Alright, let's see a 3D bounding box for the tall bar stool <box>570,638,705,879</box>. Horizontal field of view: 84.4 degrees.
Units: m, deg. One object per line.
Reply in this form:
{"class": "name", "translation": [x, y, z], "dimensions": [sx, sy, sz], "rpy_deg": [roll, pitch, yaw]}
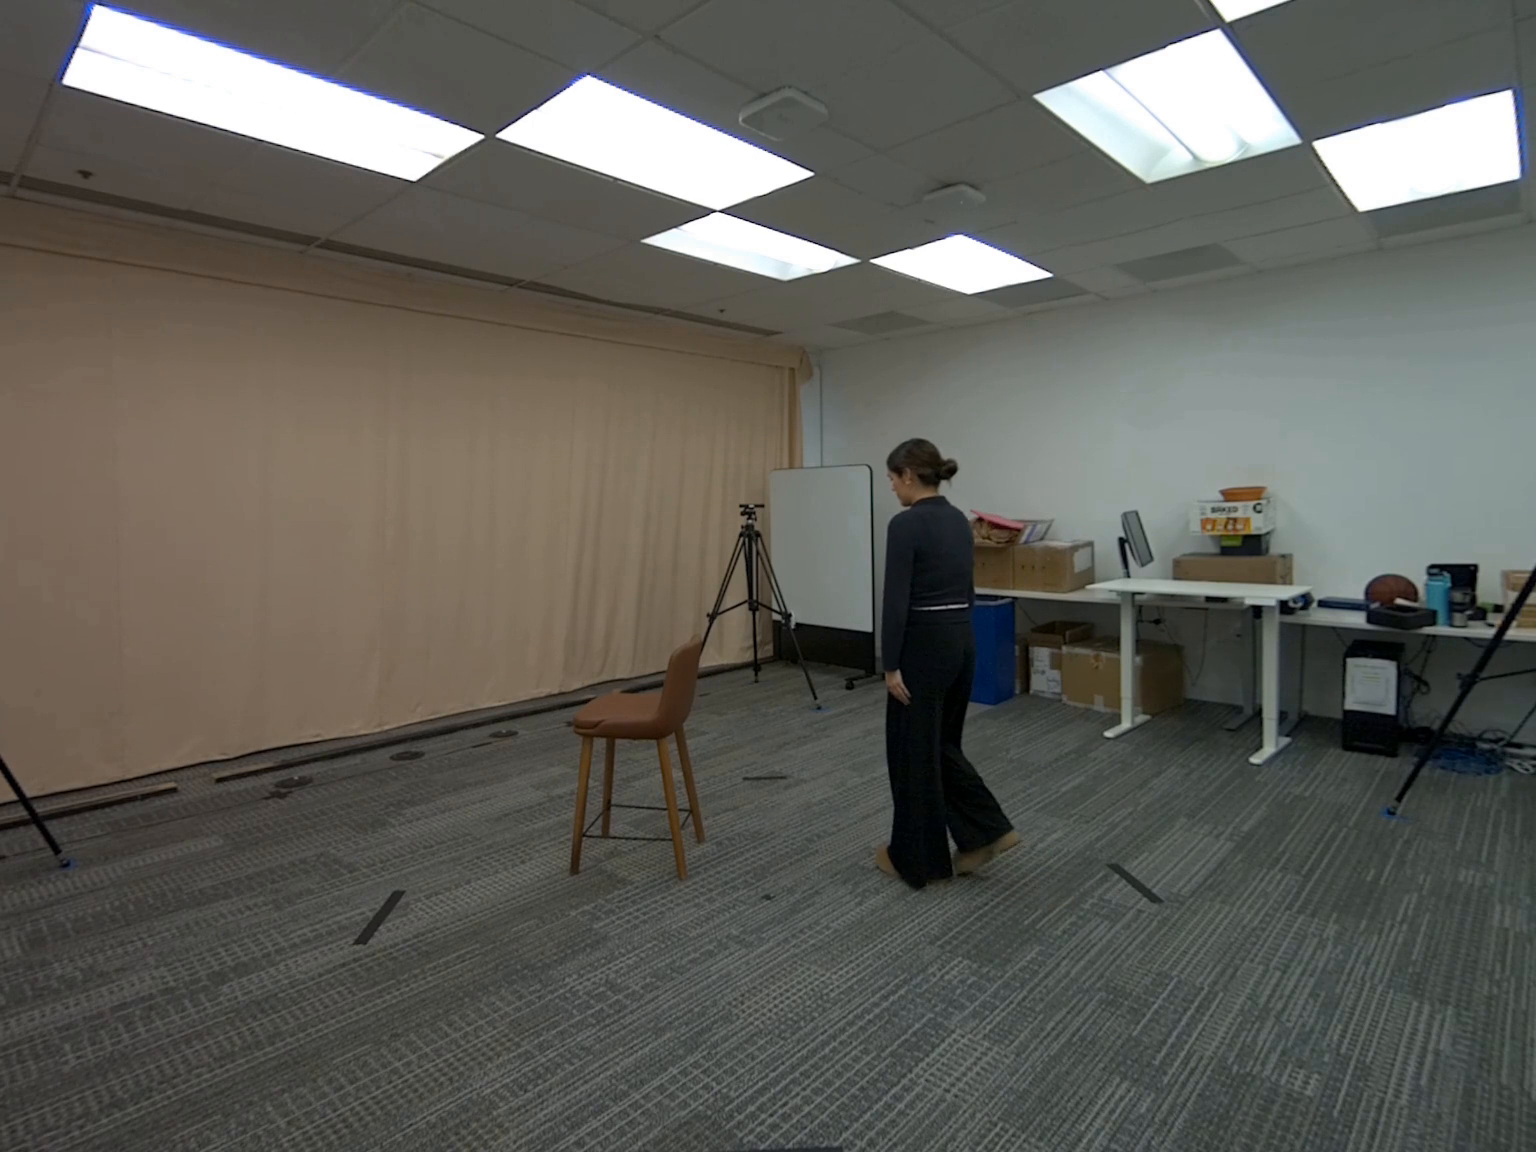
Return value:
{"class": "tall bar stool", "translation": [-0.509, 0.687, 3.341], "dimensions": [0.473, 0.888, 0.452], "rpy_deg": [1, 4, 10]}
